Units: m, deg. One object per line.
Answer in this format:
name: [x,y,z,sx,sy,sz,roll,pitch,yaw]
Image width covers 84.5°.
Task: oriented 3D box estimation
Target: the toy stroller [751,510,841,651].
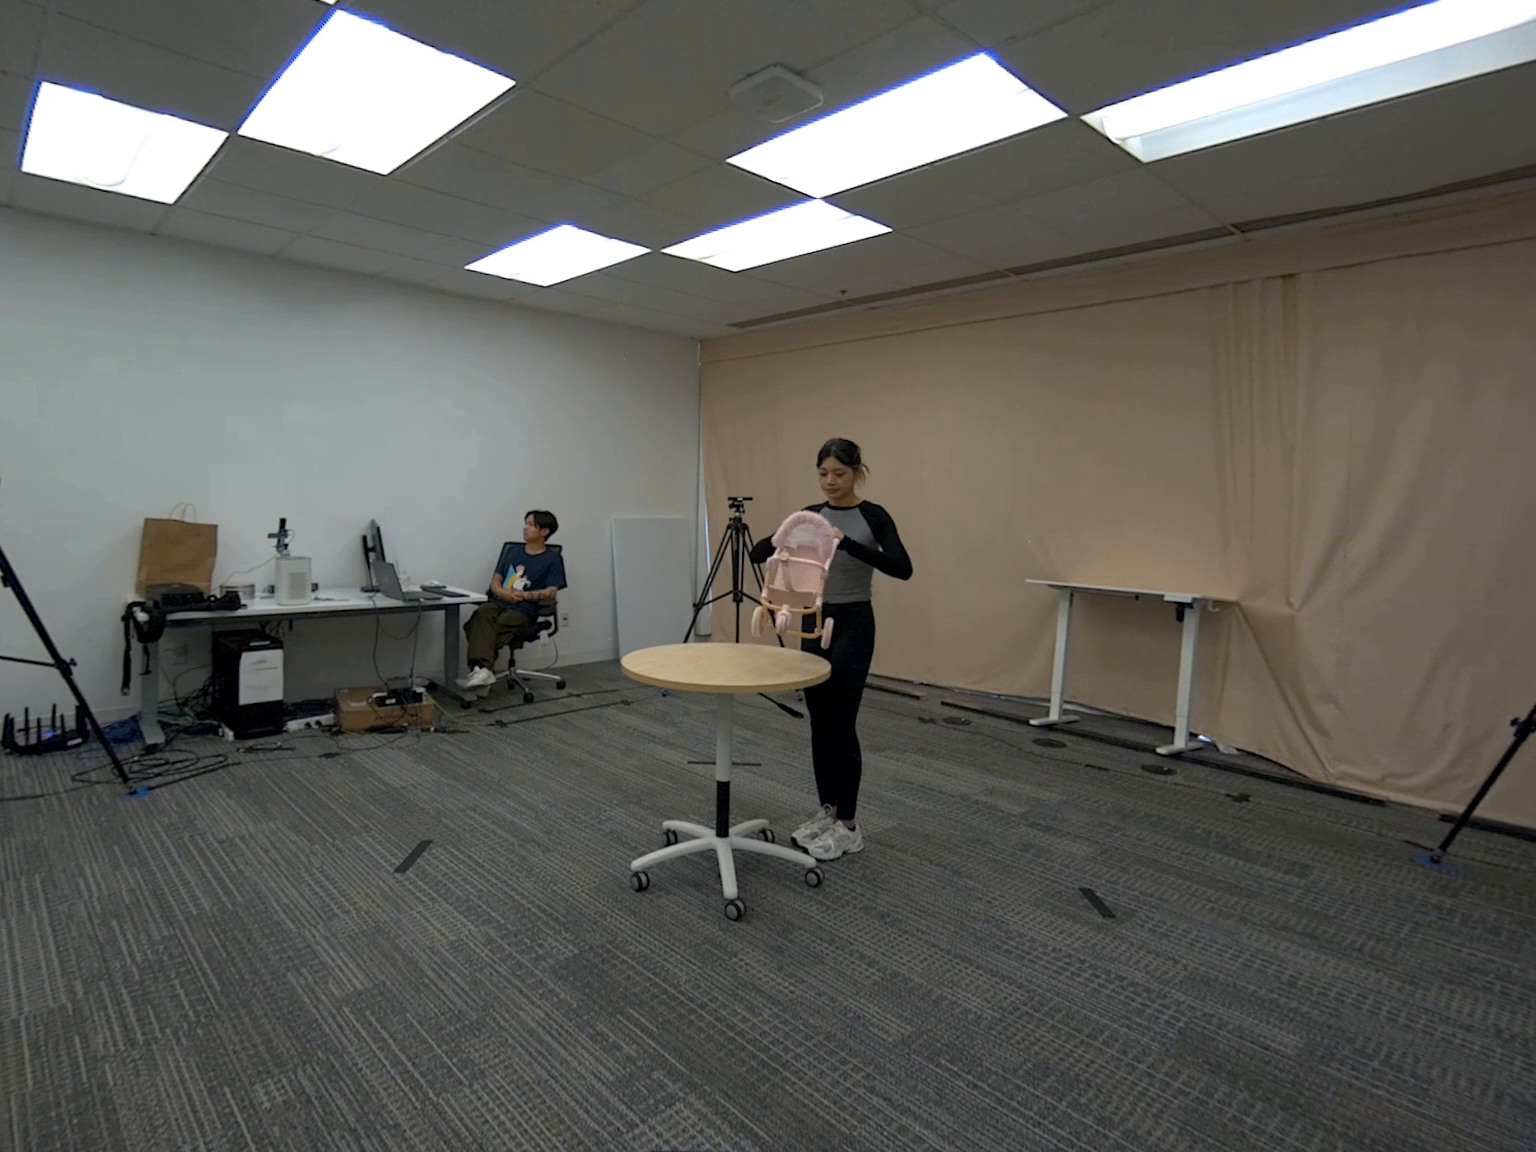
toy stroller: [0.106,0.009,2.945,0.285,0.541,0.333,6,-23,14]
